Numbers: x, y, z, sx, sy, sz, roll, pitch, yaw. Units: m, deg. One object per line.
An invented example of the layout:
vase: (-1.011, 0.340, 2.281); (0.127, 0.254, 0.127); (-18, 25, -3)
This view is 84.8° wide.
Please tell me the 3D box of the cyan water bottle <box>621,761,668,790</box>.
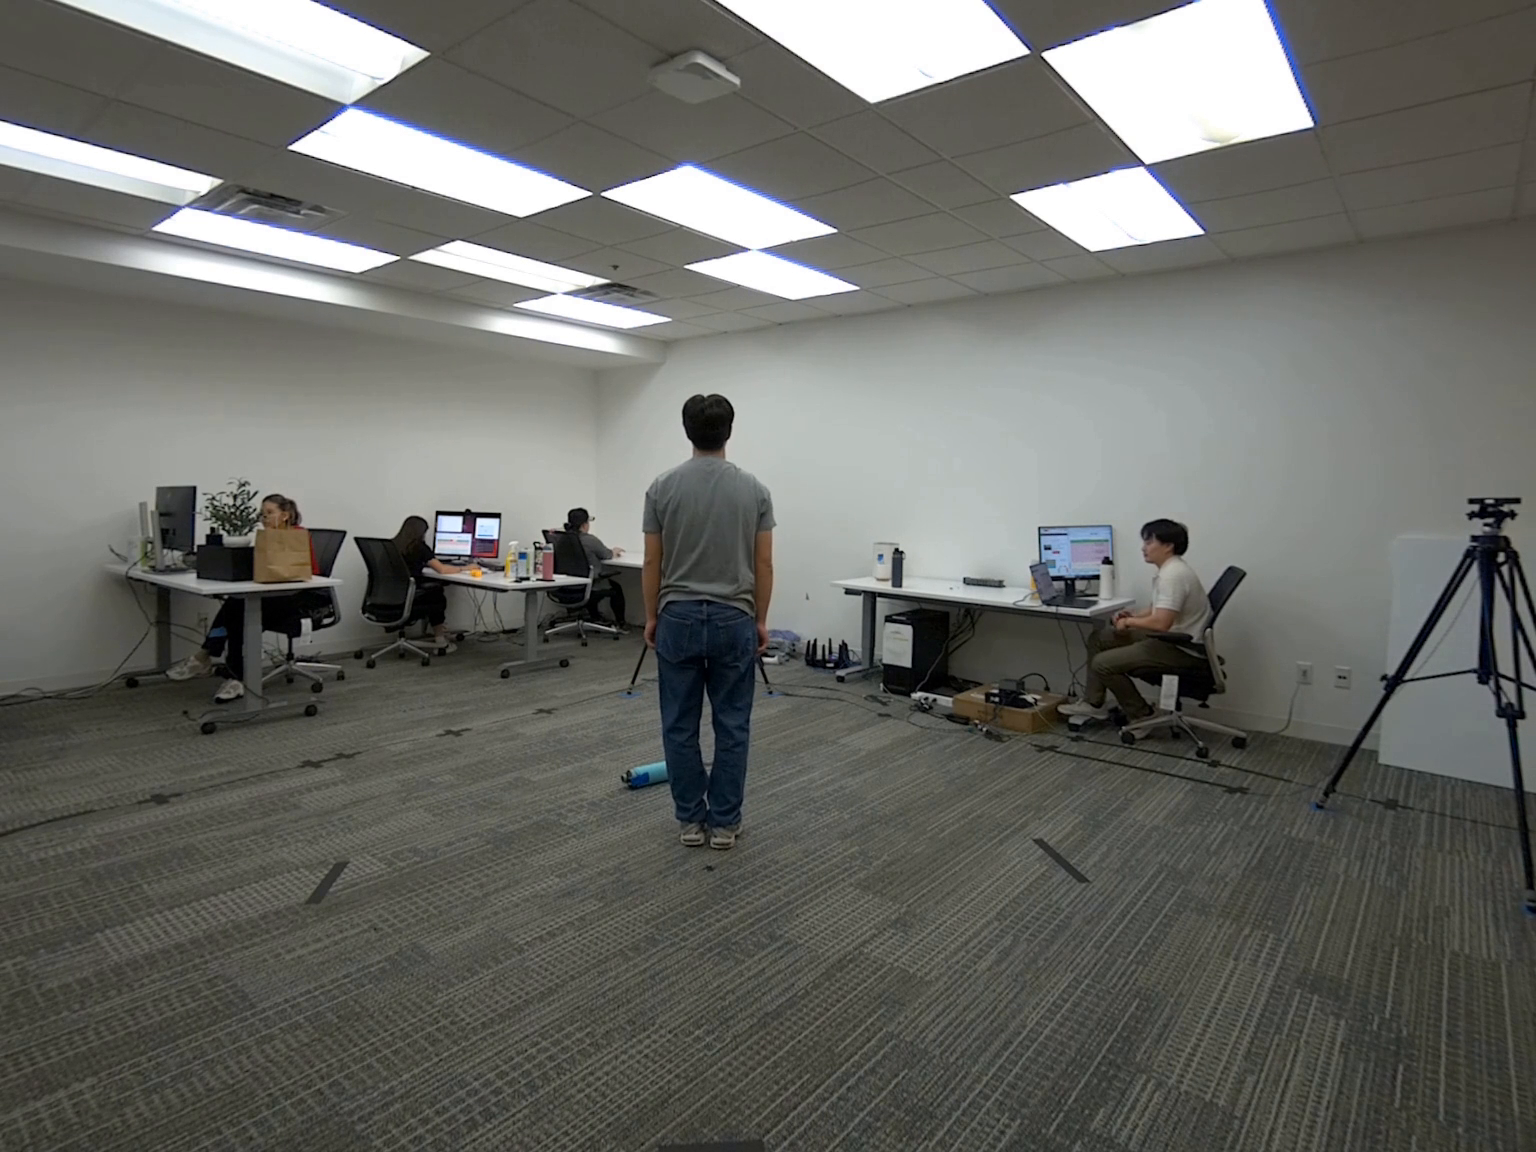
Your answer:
cyan water bottle: (-0.567, 0.926, 4.000); (0.275, 0.092, 0.095); (-4, 6, -38)
